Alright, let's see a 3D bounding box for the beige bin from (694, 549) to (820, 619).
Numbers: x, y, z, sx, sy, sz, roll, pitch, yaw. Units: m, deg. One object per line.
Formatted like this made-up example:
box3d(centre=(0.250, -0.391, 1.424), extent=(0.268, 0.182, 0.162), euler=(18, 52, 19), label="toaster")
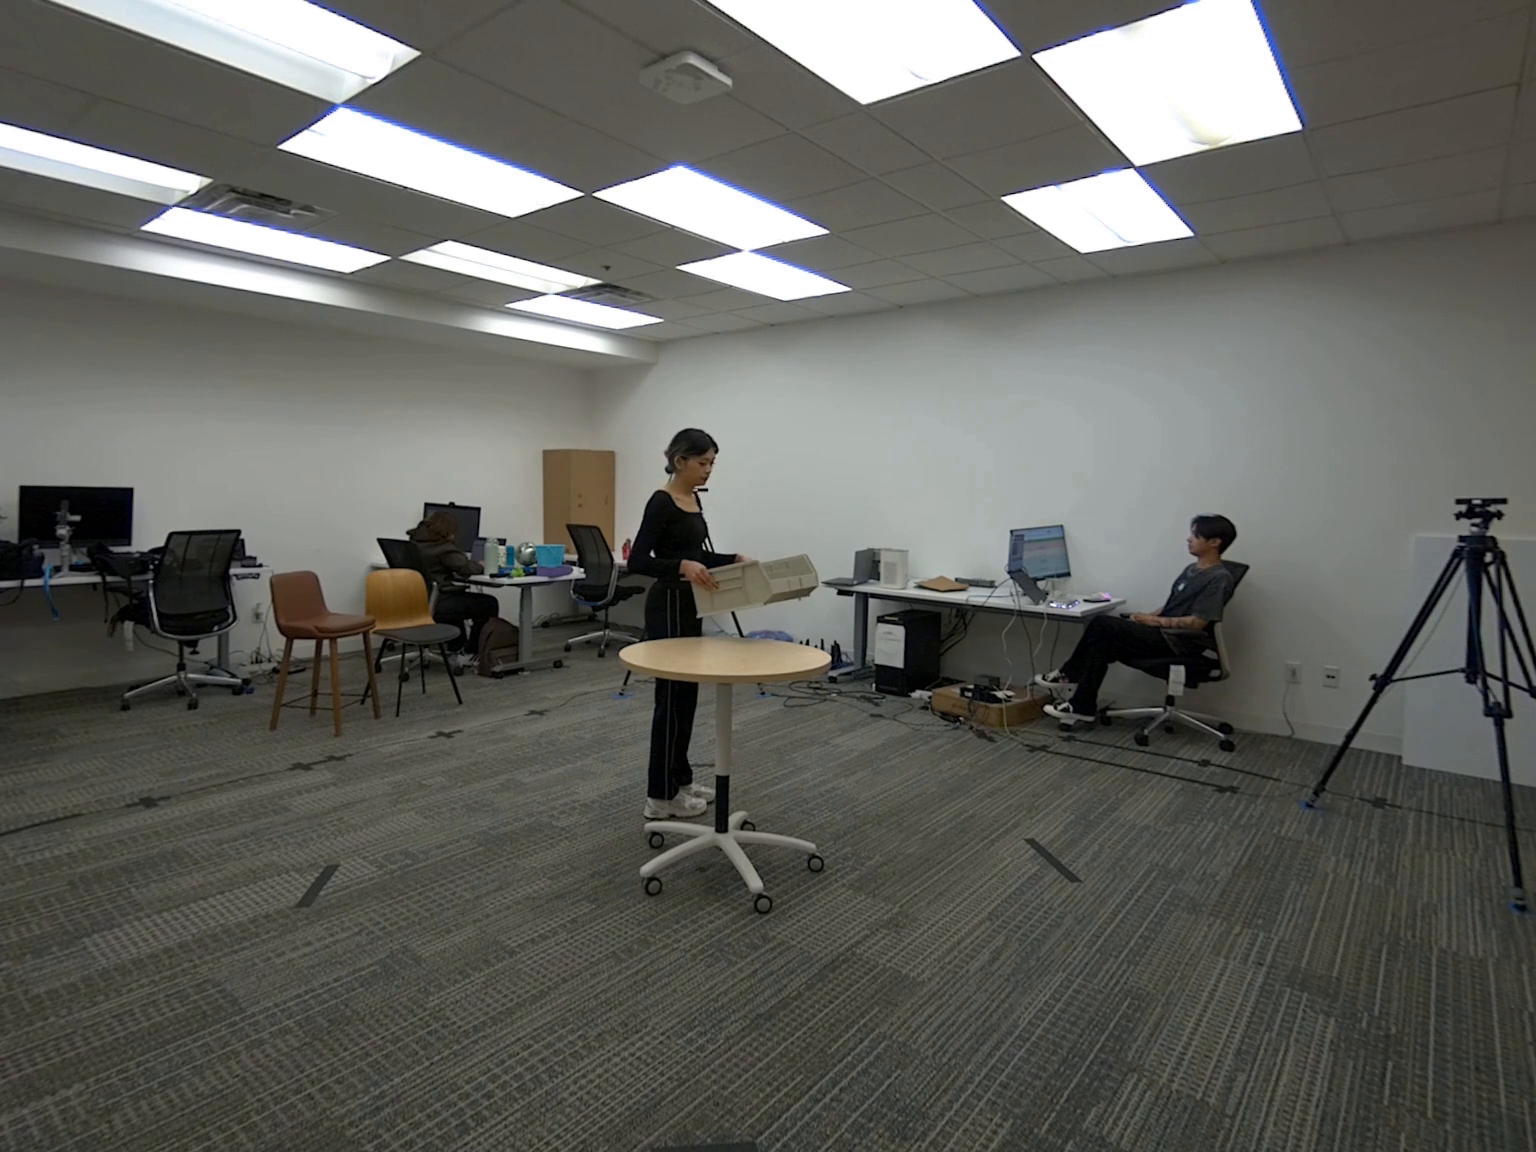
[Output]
box3d(centre=(-0.066, 0.032, 3.480), extent=(0.385, 0.190, 0.412), euler=(-13, -2, 30), label="beige bin")
